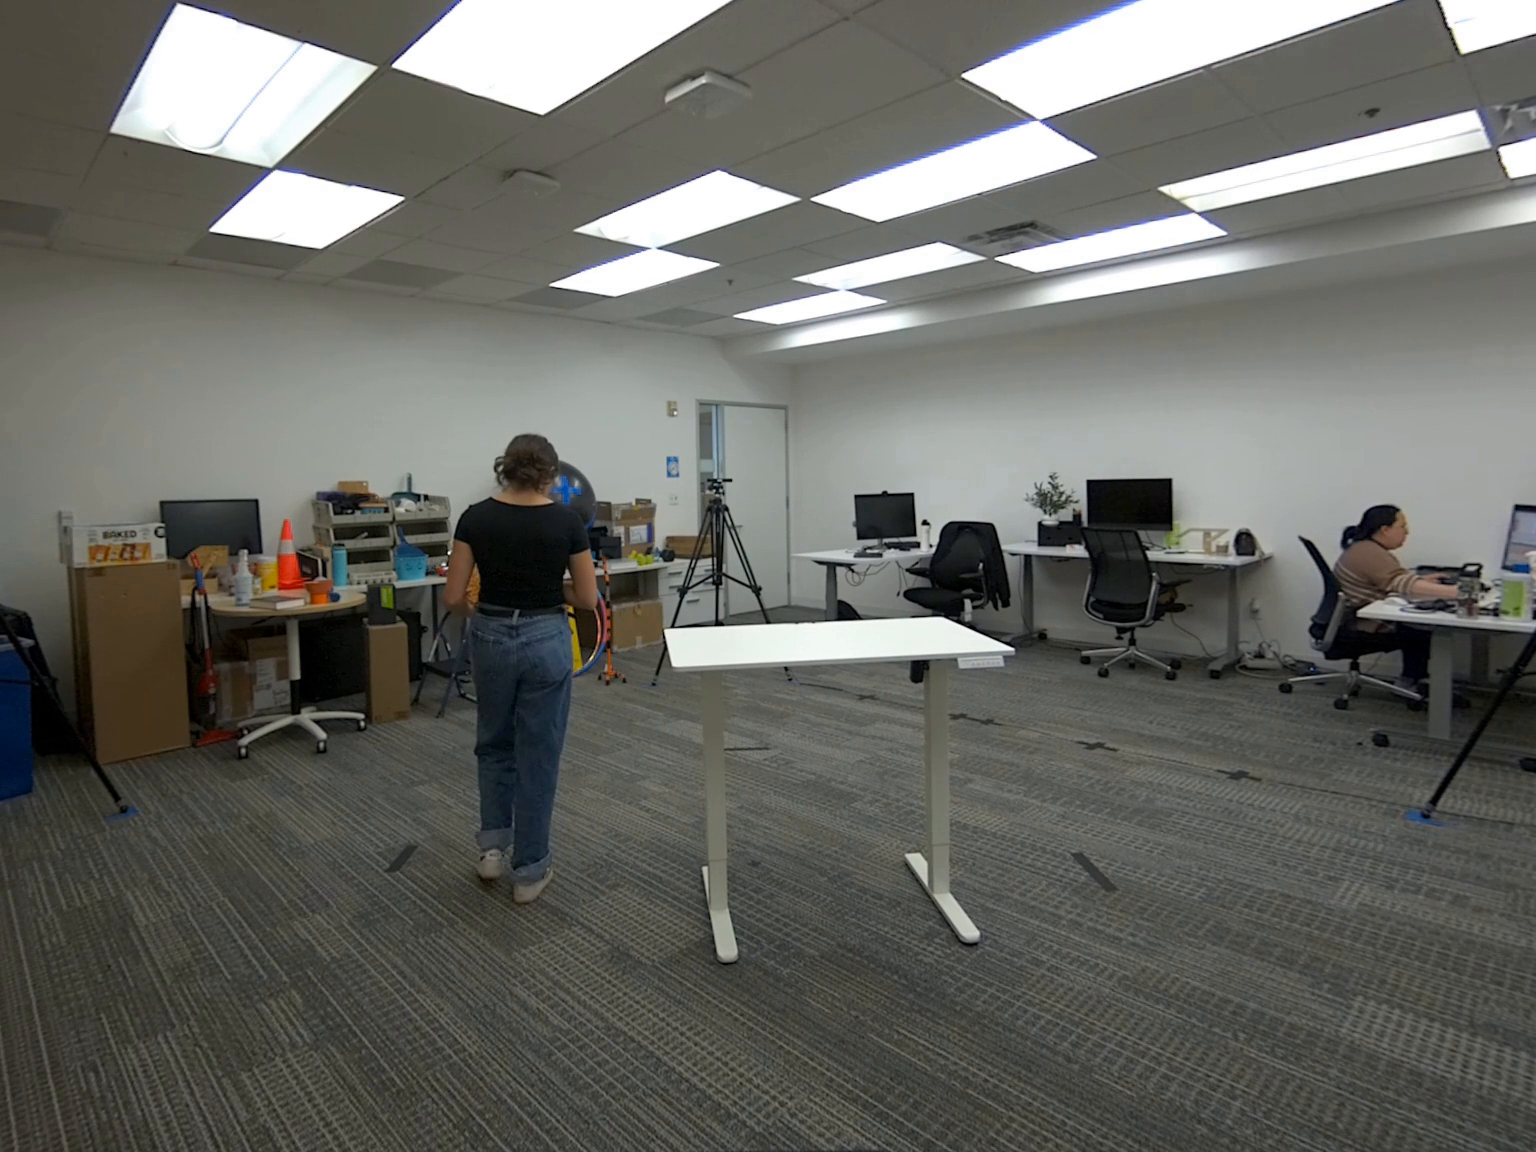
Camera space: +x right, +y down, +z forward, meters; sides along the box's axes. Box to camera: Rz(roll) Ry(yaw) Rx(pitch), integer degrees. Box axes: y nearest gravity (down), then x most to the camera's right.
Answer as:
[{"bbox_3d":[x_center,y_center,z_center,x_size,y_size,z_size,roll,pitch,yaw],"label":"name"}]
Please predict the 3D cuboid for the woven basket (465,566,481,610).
[{"bbox_3d":[-0.997,-0.024,3.122,0.253,0.362,0.071,-28,-33,5],"label":"woven basket"}]
